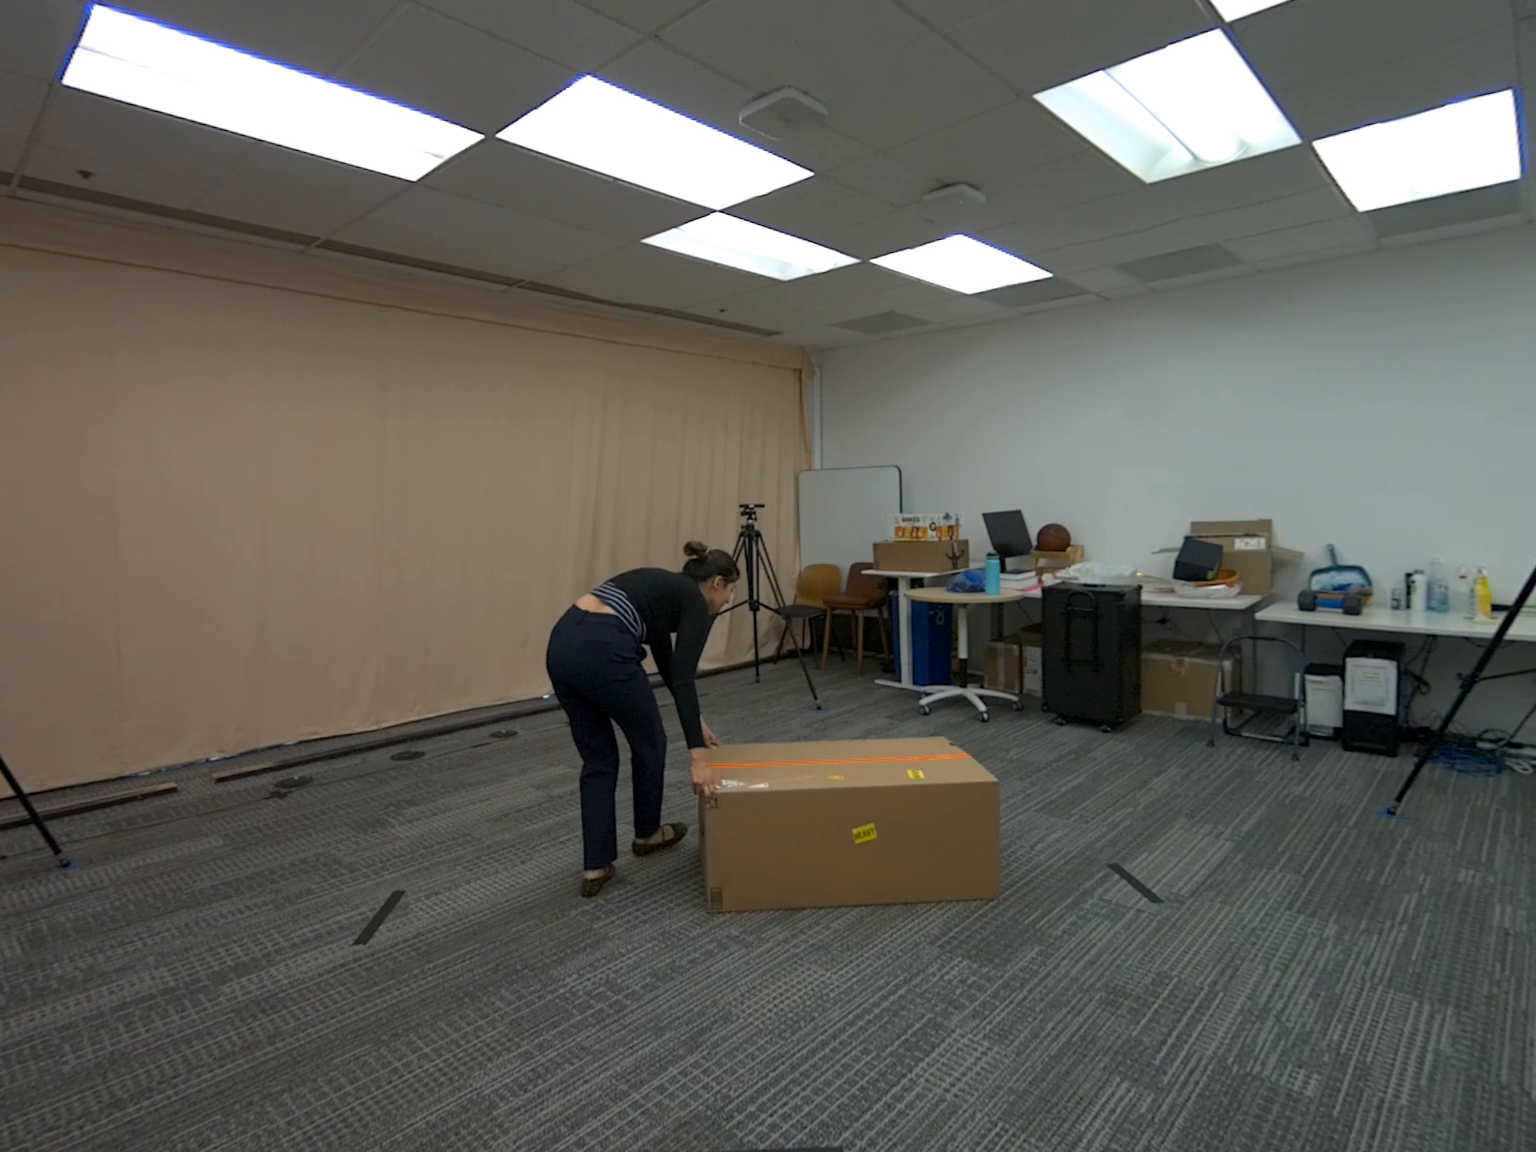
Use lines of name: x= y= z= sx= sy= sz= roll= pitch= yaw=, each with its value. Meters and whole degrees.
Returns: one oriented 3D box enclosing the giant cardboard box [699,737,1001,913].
giant cardboard box: x=0.265 y=0.902 z=3.179 sx=1.021 sy=0.425 sz=0.582 roll=-1 pitch=5 yaw=-5
